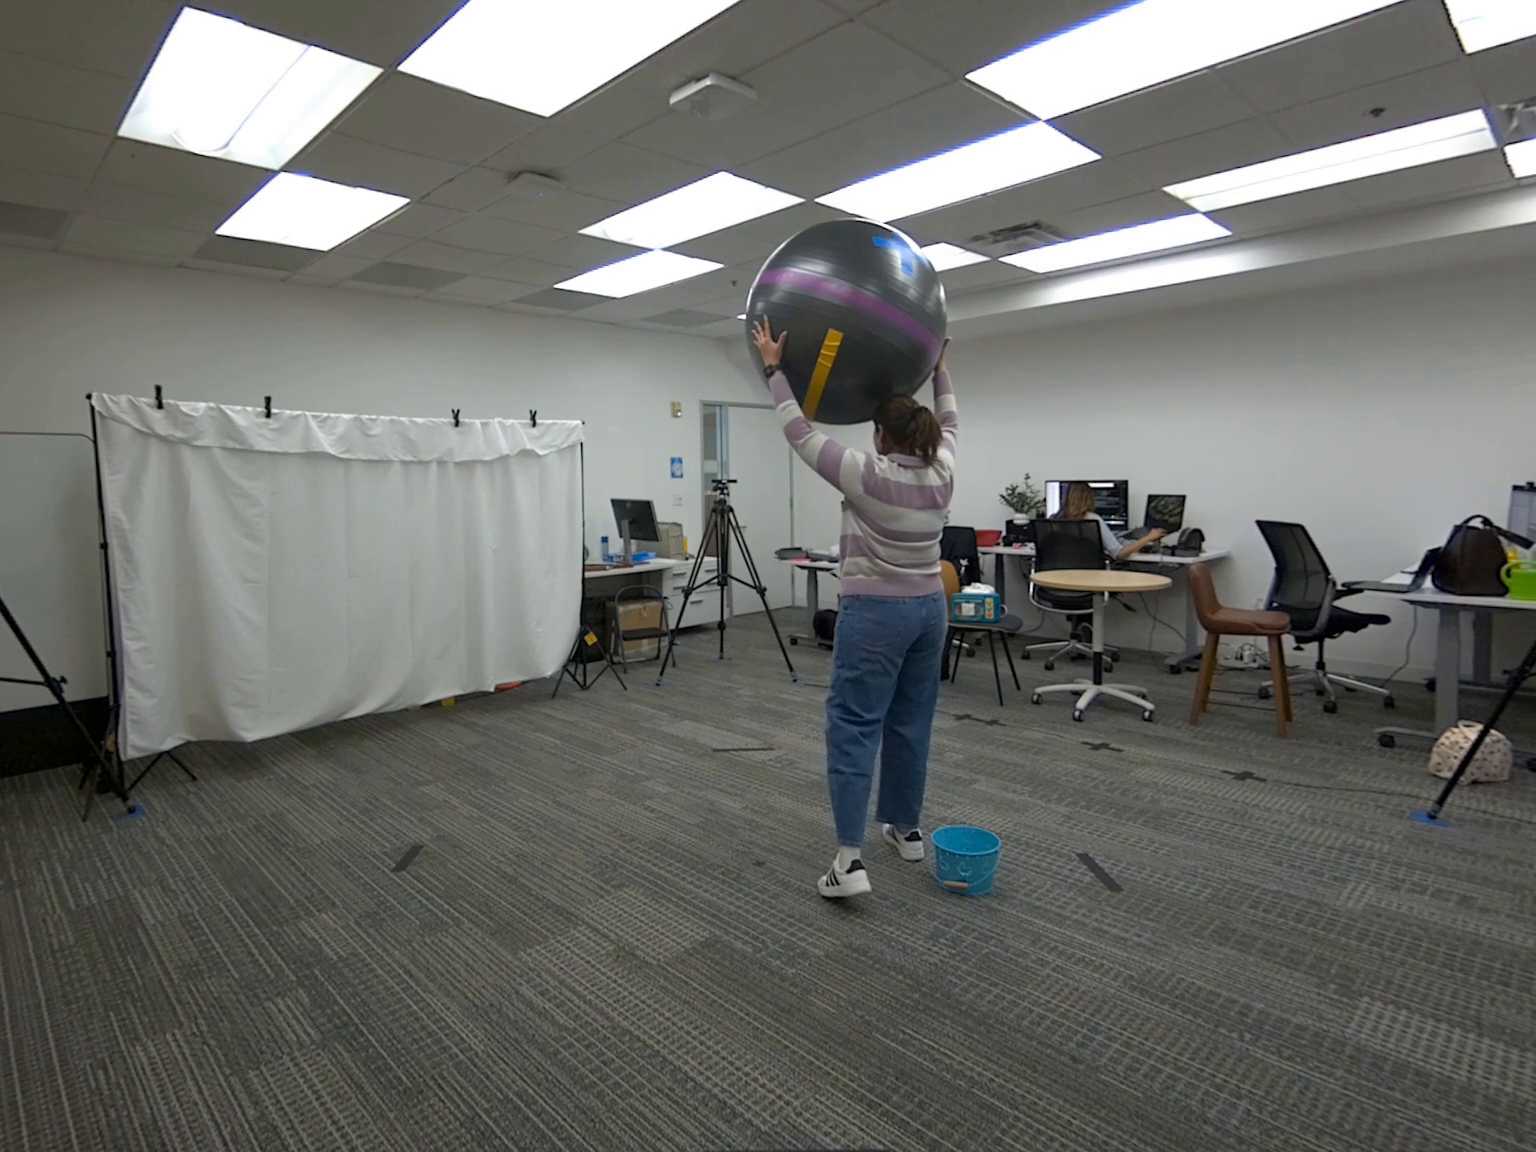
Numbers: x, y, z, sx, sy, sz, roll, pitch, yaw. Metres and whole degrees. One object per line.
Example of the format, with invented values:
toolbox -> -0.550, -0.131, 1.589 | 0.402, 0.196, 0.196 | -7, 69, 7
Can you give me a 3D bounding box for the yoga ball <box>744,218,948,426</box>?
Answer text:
yoga ball -> 0.287, -0.953, 3.246 | 0.757, 0.755, 0.762 | -1, 5, -2
